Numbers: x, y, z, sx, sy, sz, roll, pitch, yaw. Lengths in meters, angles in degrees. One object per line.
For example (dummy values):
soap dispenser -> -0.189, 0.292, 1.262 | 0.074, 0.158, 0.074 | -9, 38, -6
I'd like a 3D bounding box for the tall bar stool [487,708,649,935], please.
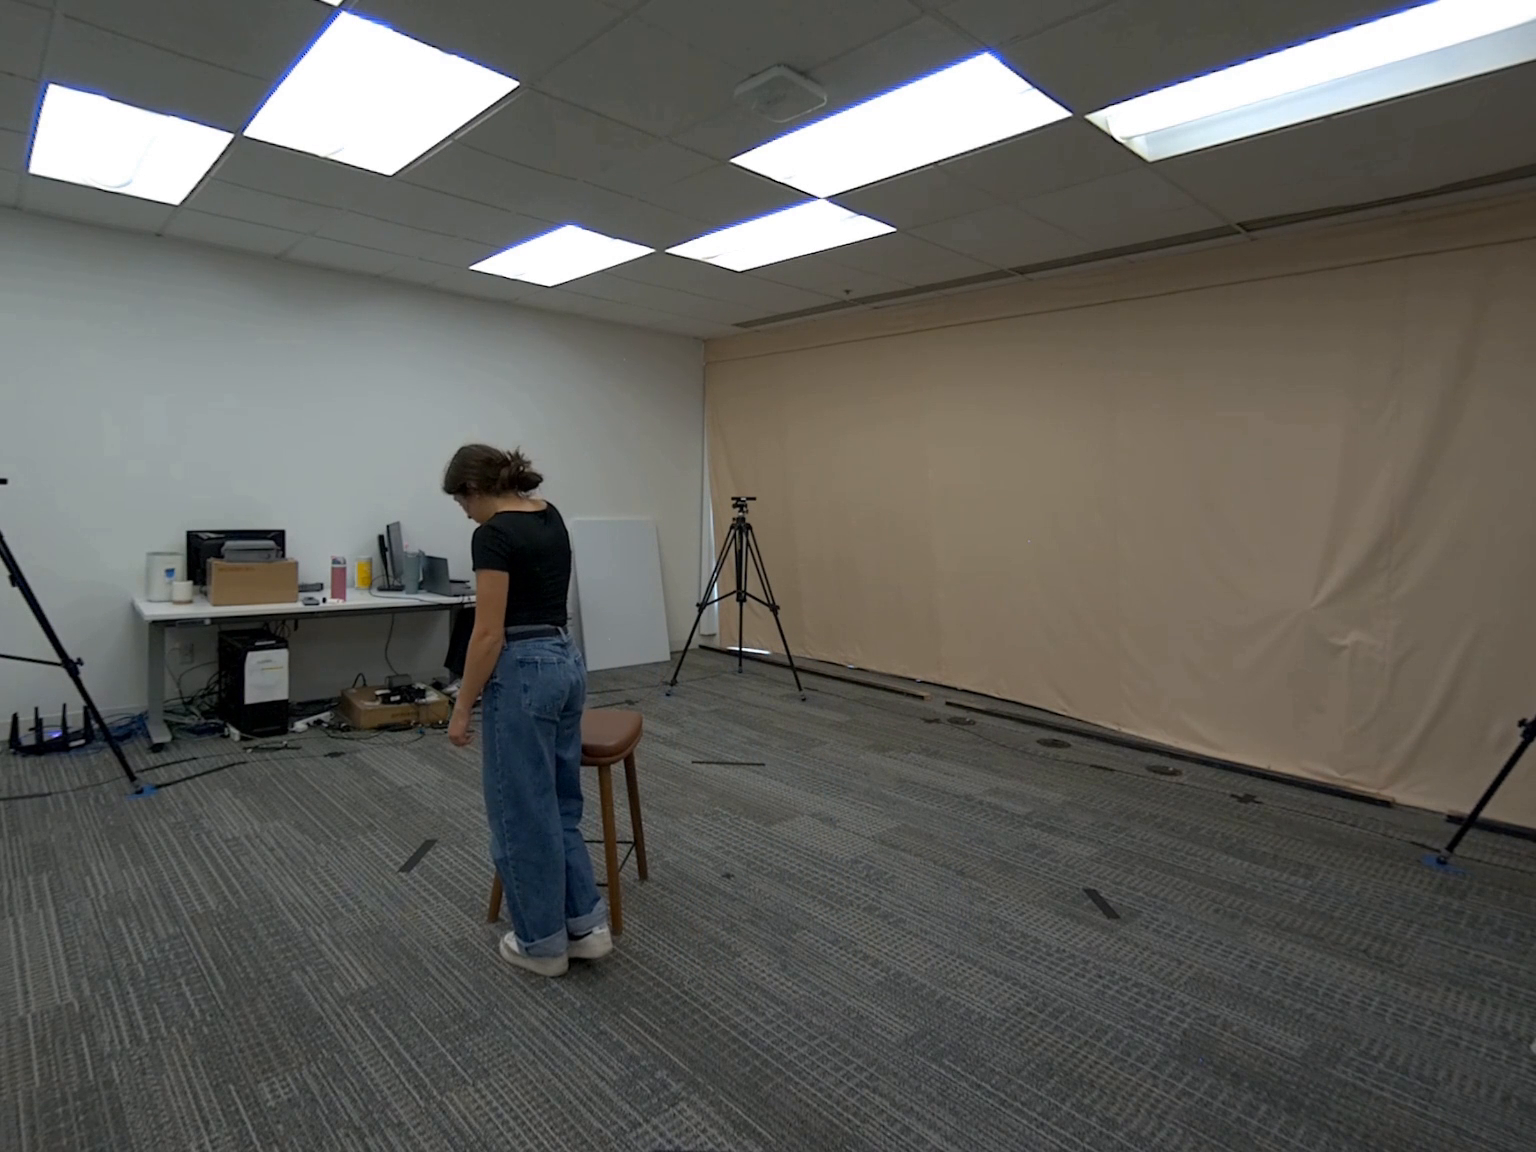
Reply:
tall bar stool -> -0.682, 0.682, 2.871 | 0.470, 0.887, 0.455 | 0, 4, 5
